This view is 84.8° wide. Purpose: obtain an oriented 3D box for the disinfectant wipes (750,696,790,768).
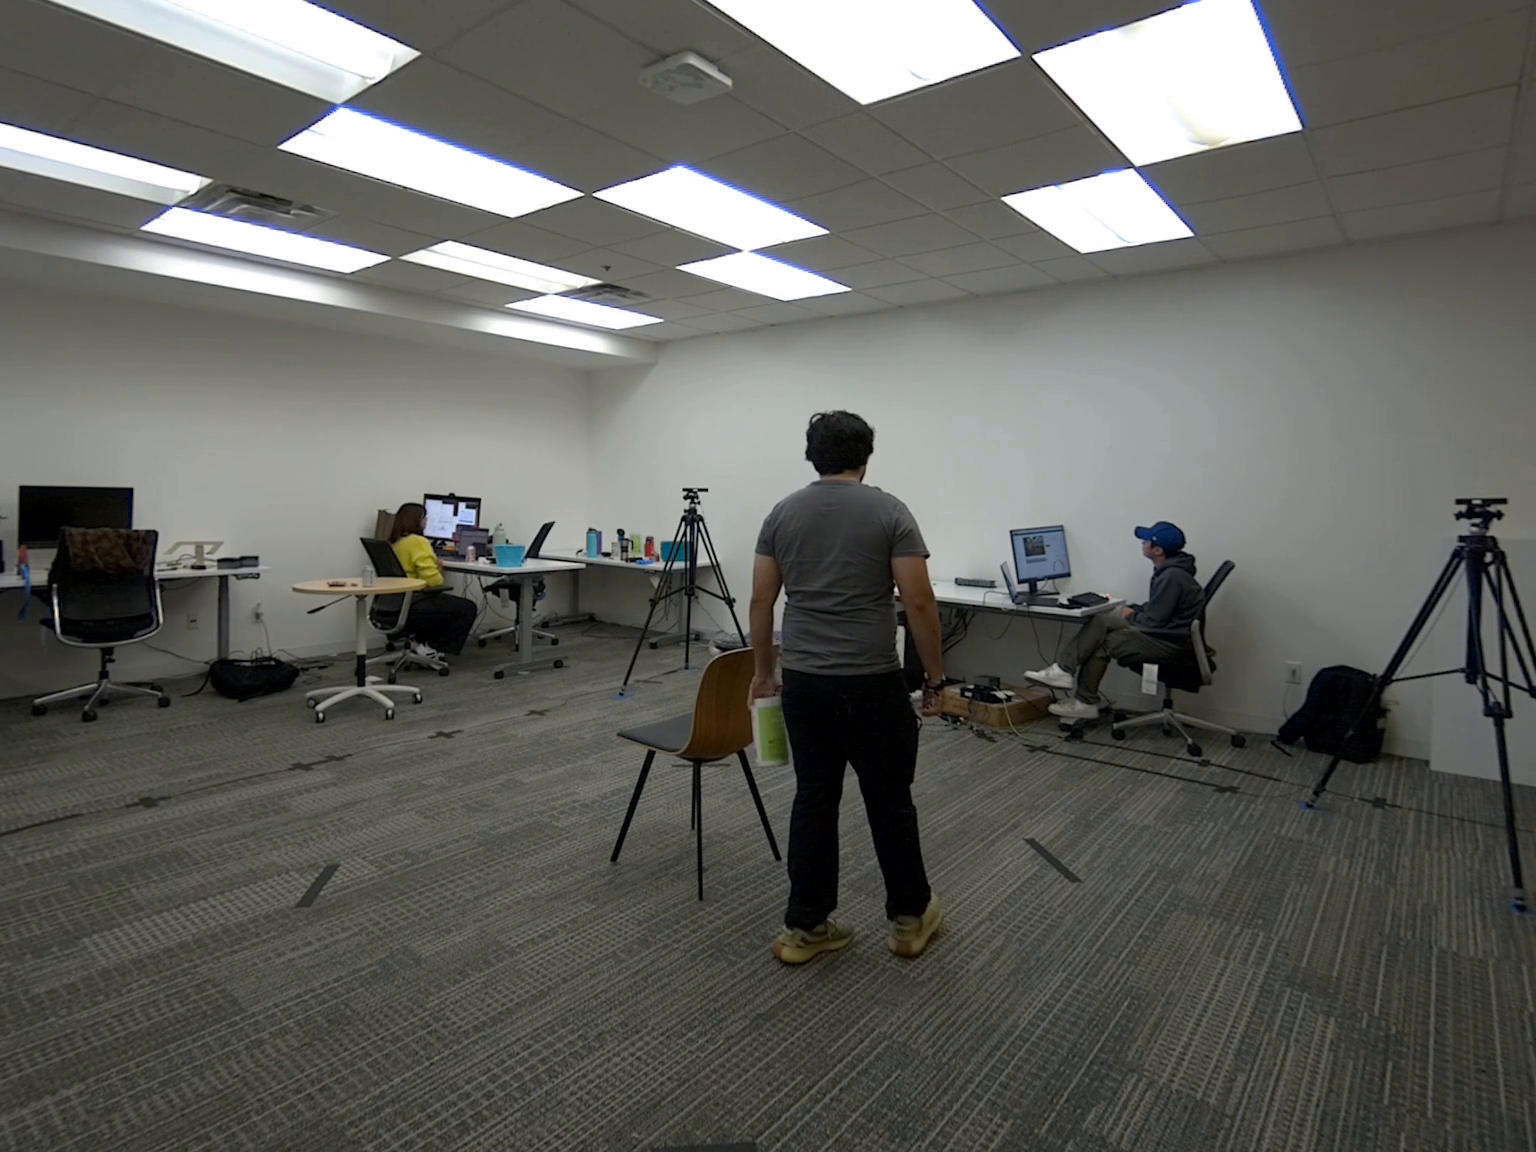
[{"bbox_3d":[0.000,0.498,2.748,0.117,0.219,0.117,-6,-6,-2],"label":"disinfectant wipes"}]
